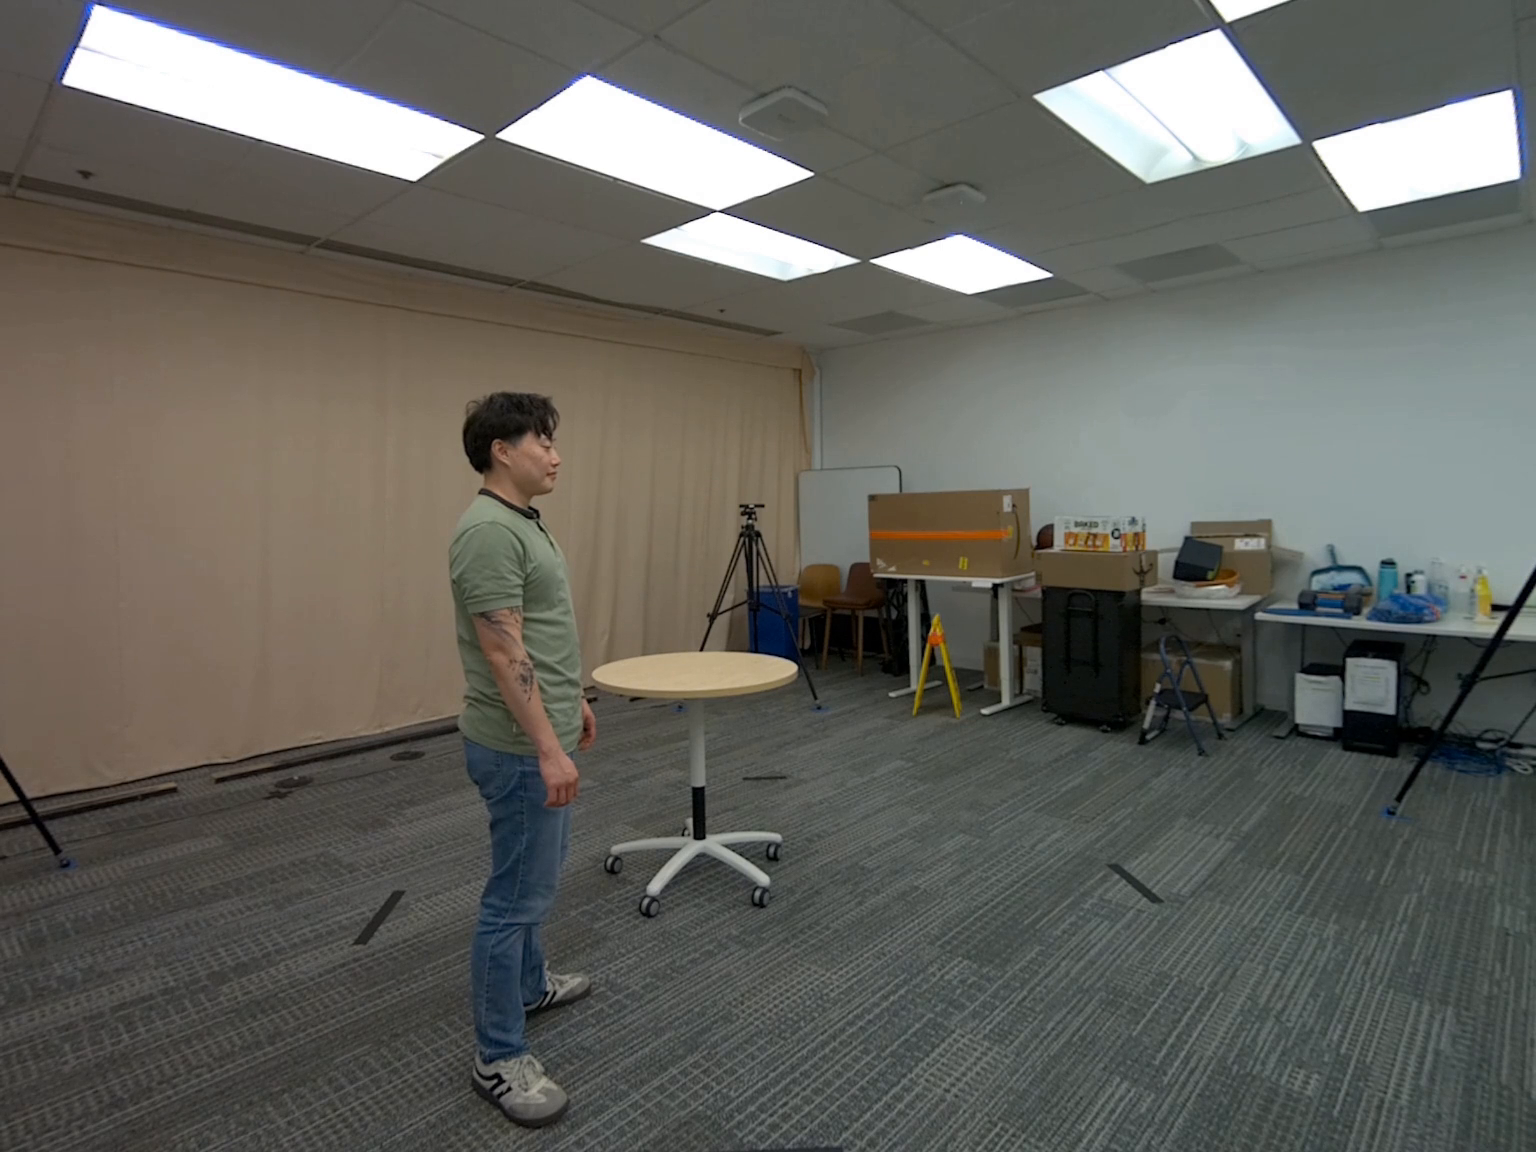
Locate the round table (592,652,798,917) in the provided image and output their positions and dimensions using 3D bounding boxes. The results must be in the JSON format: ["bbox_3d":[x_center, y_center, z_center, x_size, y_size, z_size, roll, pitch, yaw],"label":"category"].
[{"bbox_3d":[-0.261,0.742,3.153,0.763,0.792,0.766,-2,3,-2],"label":"round table"}]
